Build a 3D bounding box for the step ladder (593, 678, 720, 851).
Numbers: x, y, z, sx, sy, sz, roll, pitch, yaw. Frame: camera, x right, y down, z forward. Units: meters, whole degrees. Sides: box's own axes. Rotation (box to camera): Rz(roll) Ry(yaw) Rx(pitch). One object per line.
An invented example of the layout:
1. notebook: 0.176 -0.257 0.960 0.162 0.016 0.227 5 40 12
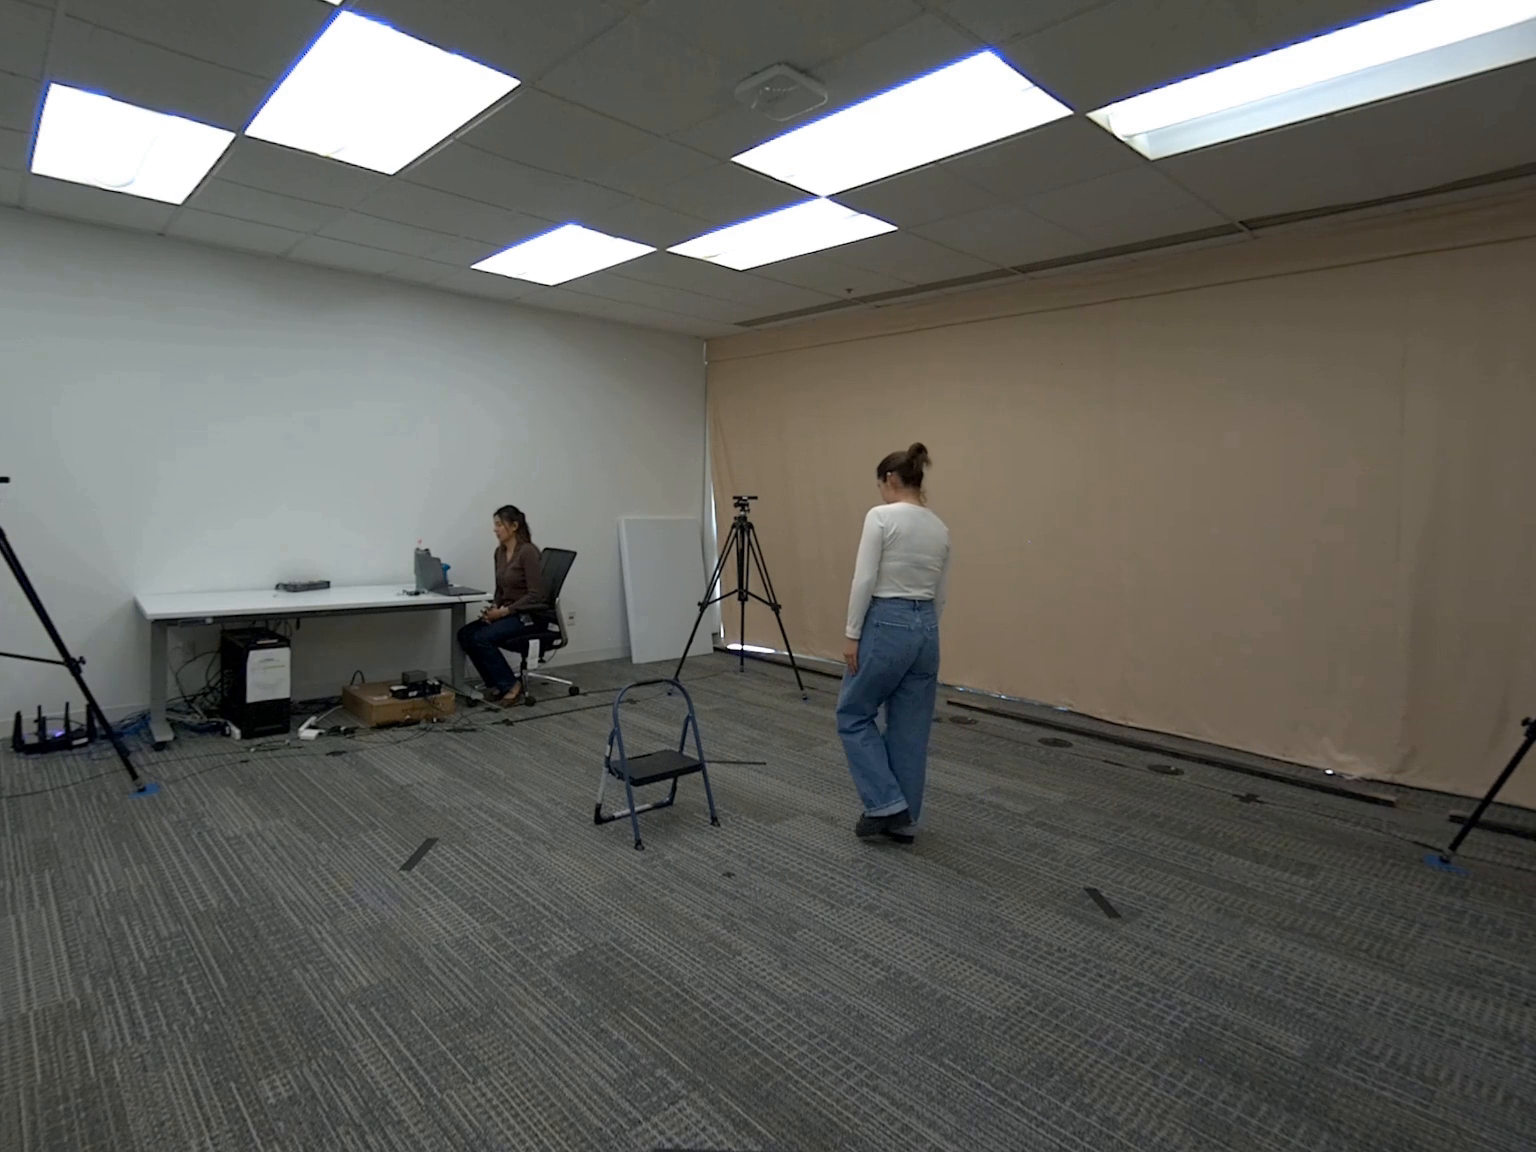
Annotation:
1. step ladder: -0.474 0.754 3.549 0.421 0.605 0.358 -2 5 -43
